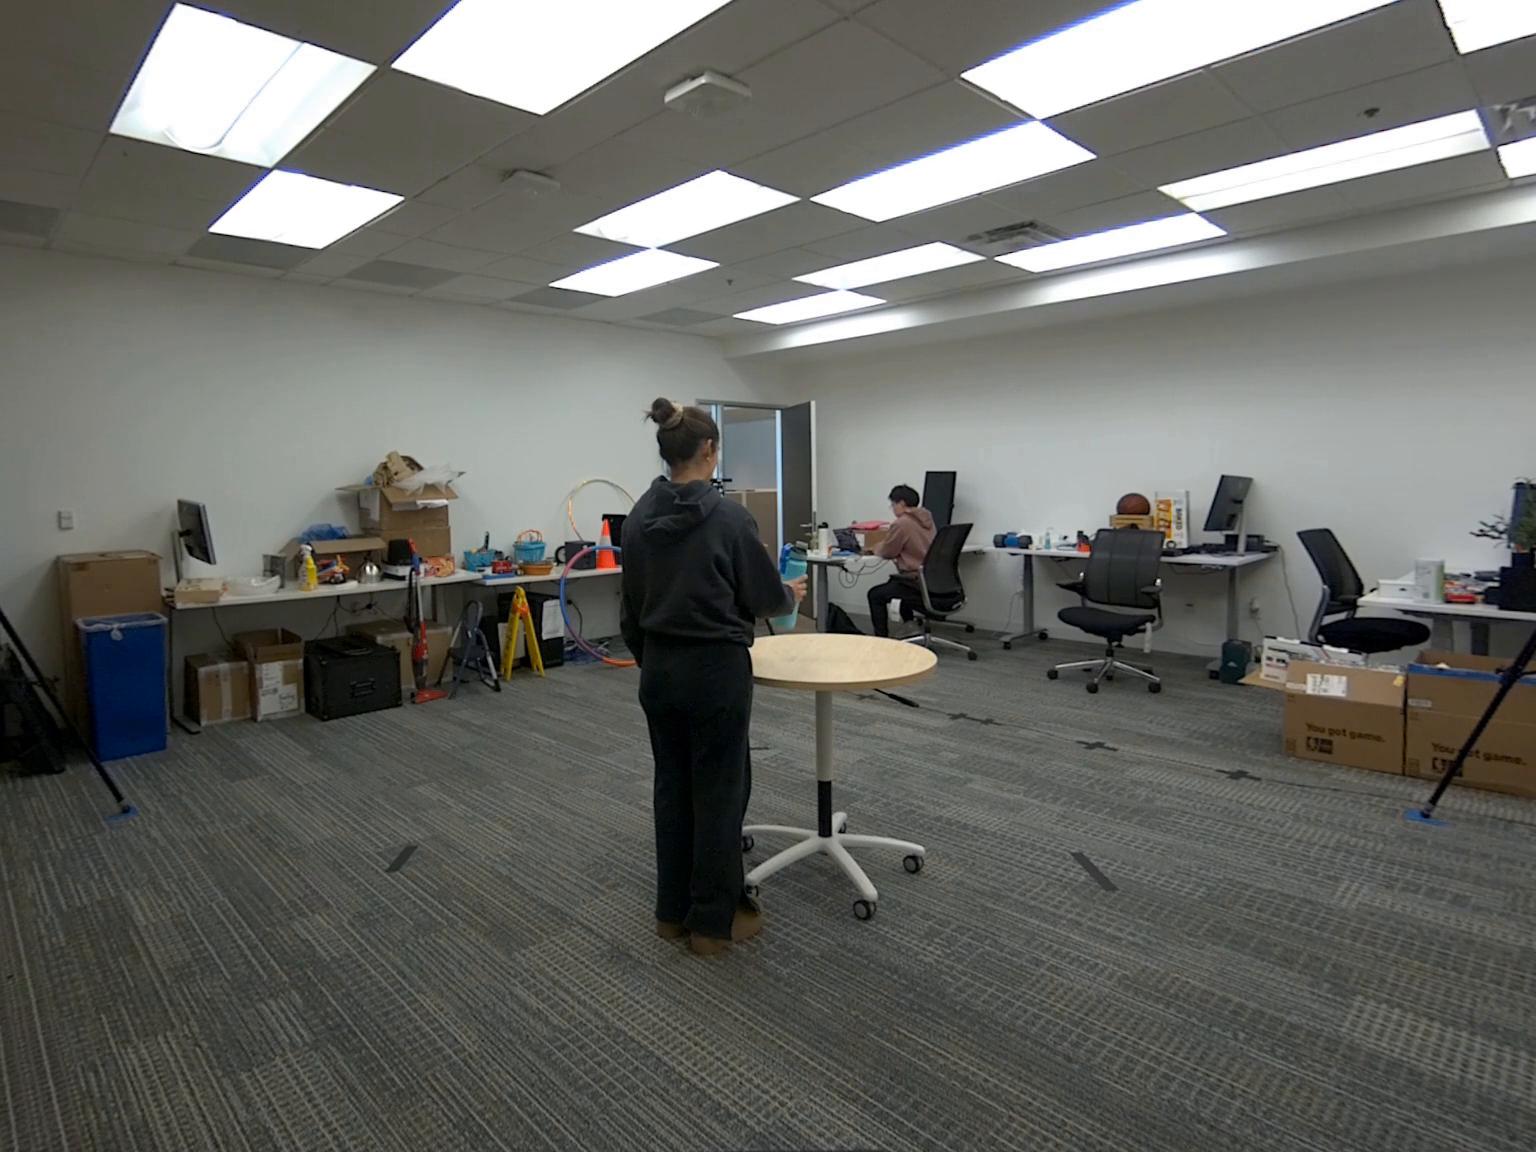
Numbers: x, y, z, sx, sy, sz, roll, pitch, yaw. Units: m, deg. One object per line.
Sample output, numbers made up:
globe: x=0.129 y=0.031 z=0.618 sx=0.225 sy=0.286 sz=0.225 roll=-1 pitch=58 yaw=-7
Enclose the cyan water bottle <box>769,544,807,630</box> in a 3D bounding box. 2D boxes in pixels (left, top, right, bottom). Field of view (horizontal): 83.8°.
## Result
cyan water bottle: x=0.076 y=0.031 z=2.850 sx=0.092 sy=0.281 sz=0.093 roll=8 pitch=8 yaw=-3
